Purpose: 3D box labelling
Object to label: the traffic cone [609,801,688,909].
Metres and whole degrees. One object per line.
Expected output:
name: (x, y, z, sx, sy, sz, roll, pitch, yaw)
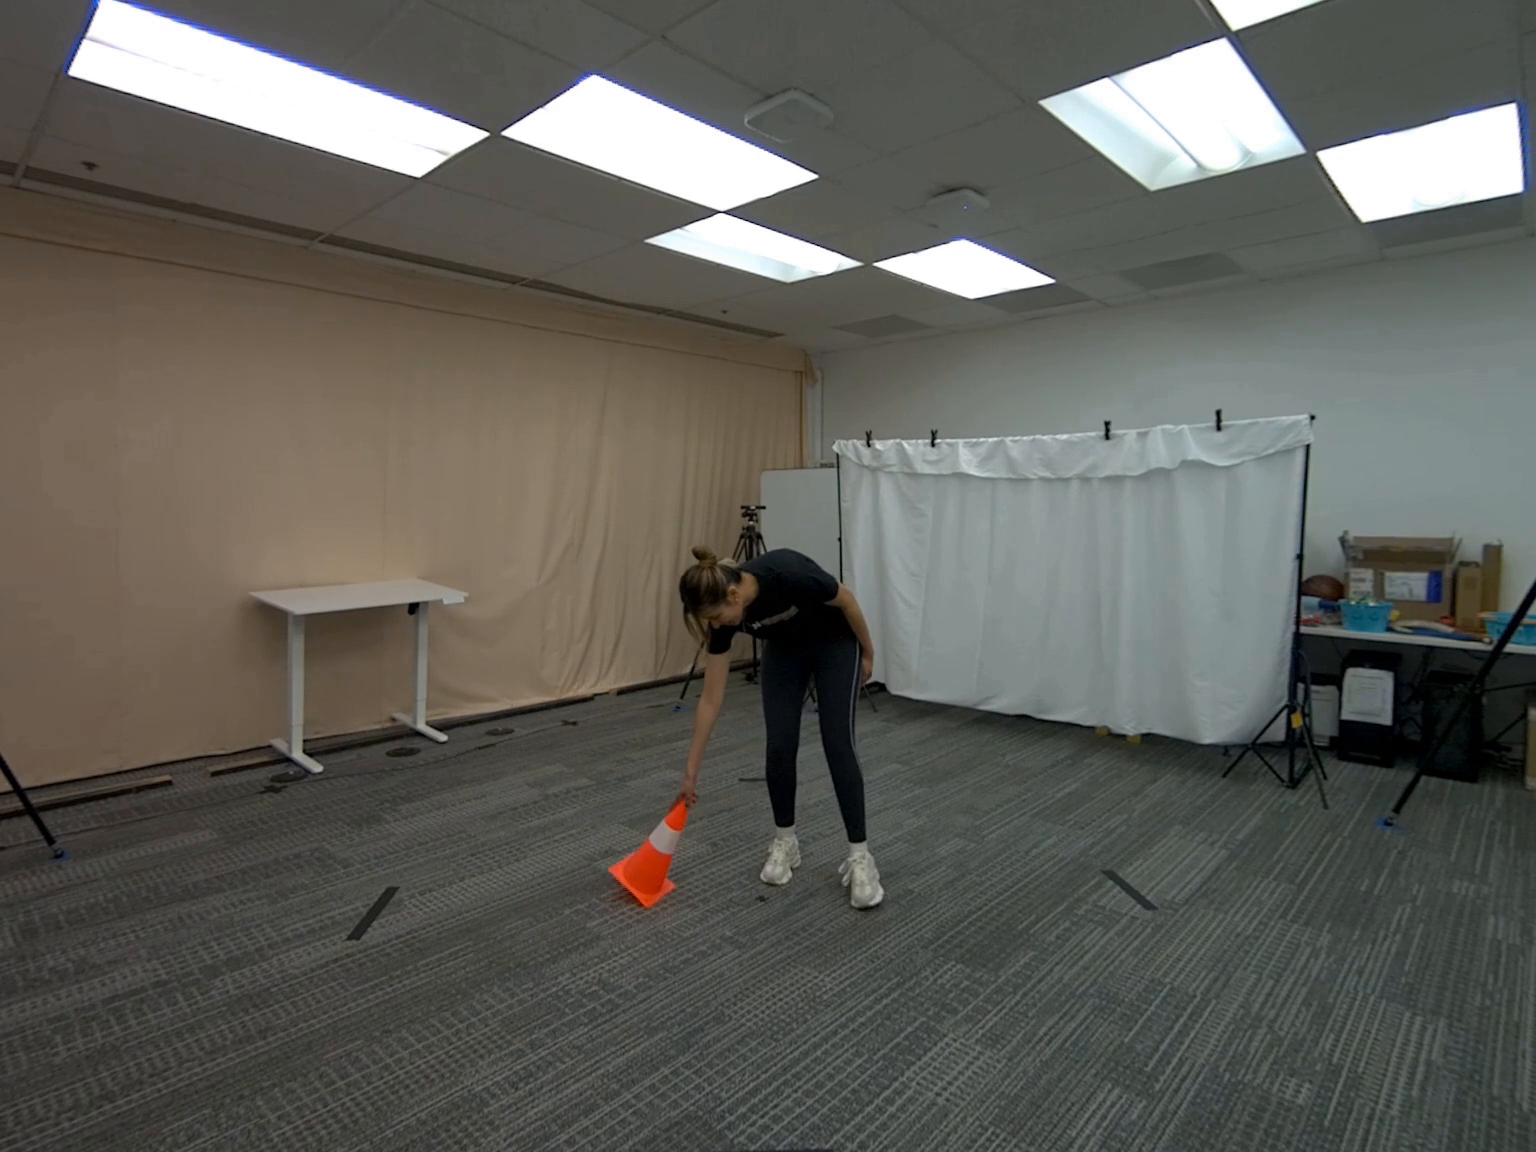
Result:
traffic cone: (-0.355, 0.945, 2.981, 0.210, 0.383, 0.198, 34, 16, 20)
